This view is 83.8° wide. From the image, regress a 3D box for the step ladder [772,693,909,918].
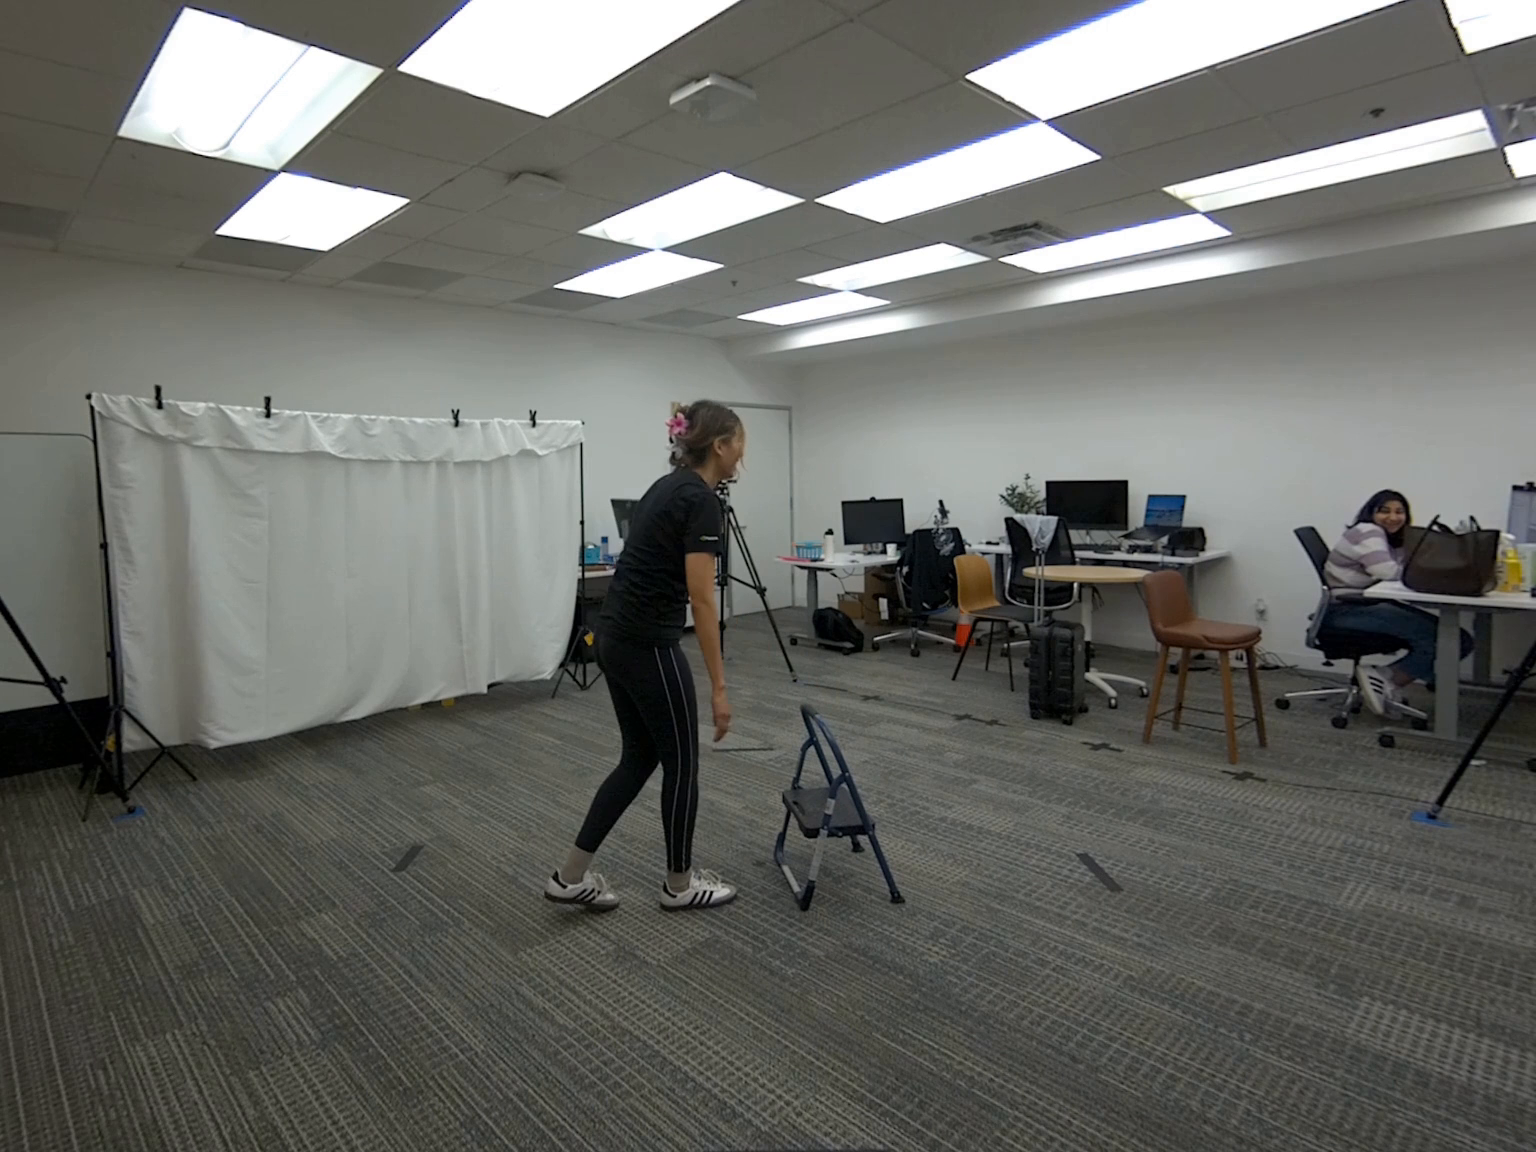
[{"bbox_3d":[0.234,0.765,2.971,0.346,0.604,0.437,-1,4,-12],"label":"step ladder"}]
